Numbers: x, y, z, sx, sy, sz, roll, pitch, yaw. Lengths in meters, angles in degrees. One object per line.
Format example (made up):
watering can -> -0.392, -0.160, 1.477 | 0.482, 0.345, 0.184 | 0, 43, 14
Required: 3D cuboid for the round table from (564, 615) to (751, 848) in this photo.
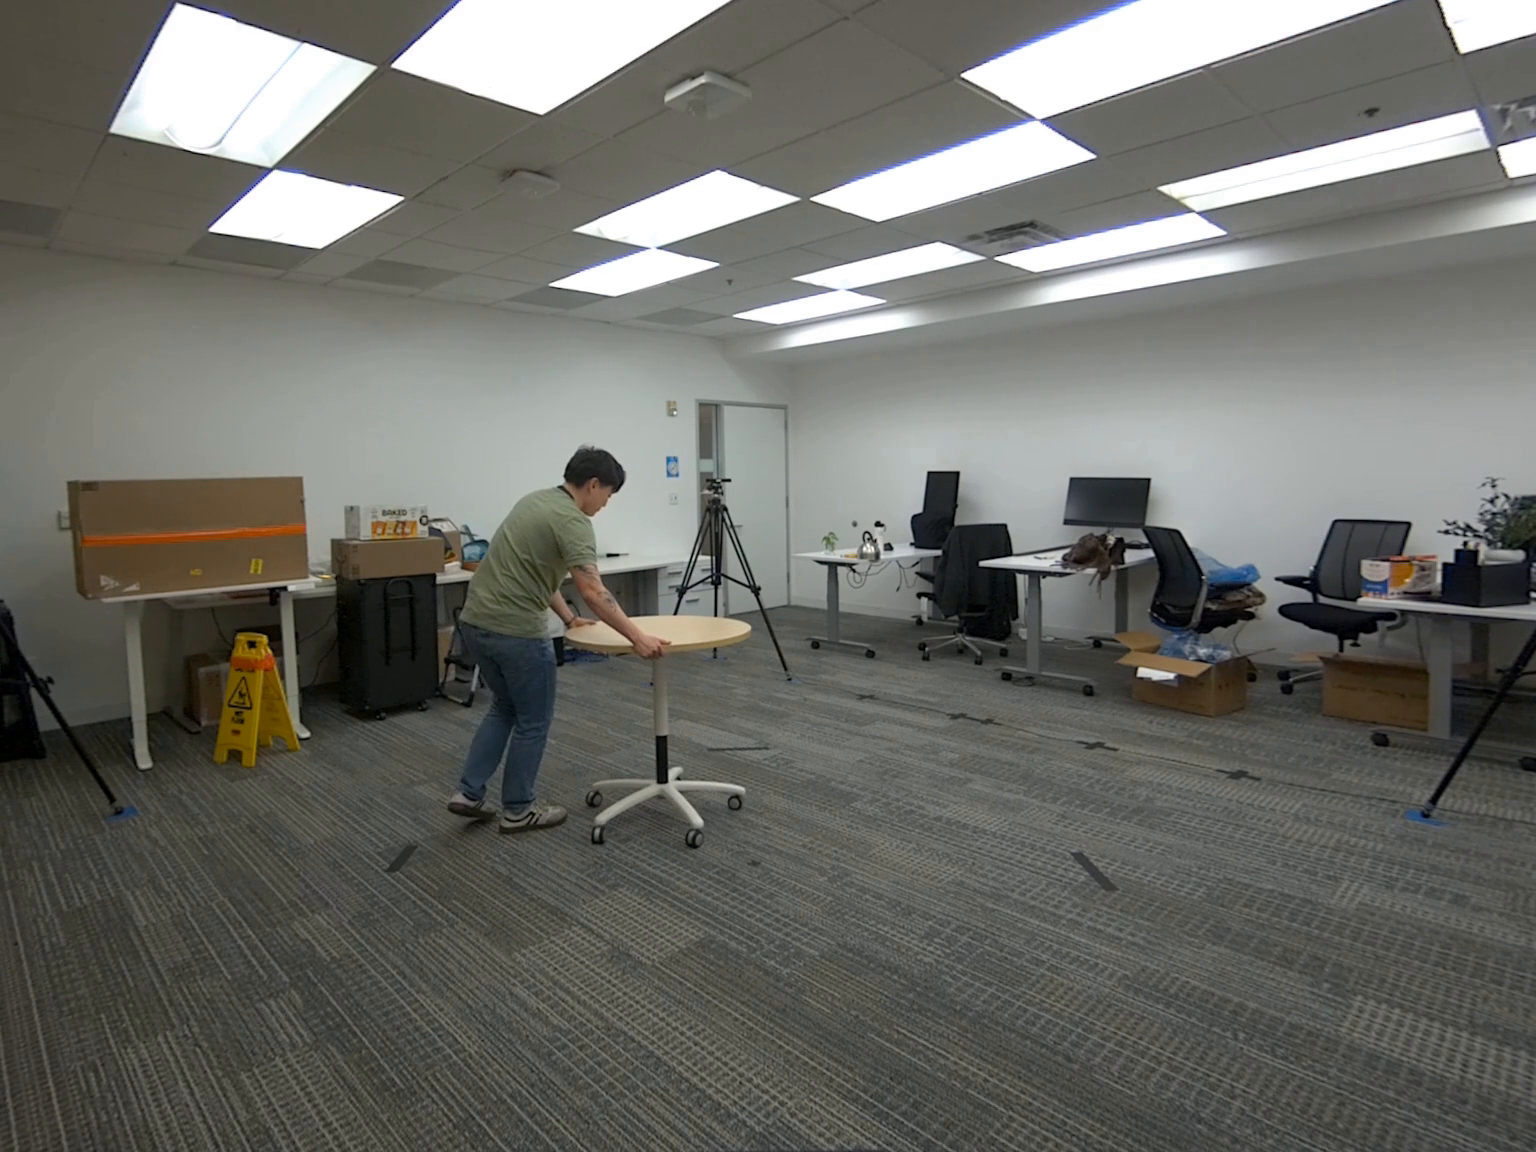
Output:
round table -> -0.447, 0.610, 3.535 | 0.763, 0.792, 0.767 | -1, 4, -2
